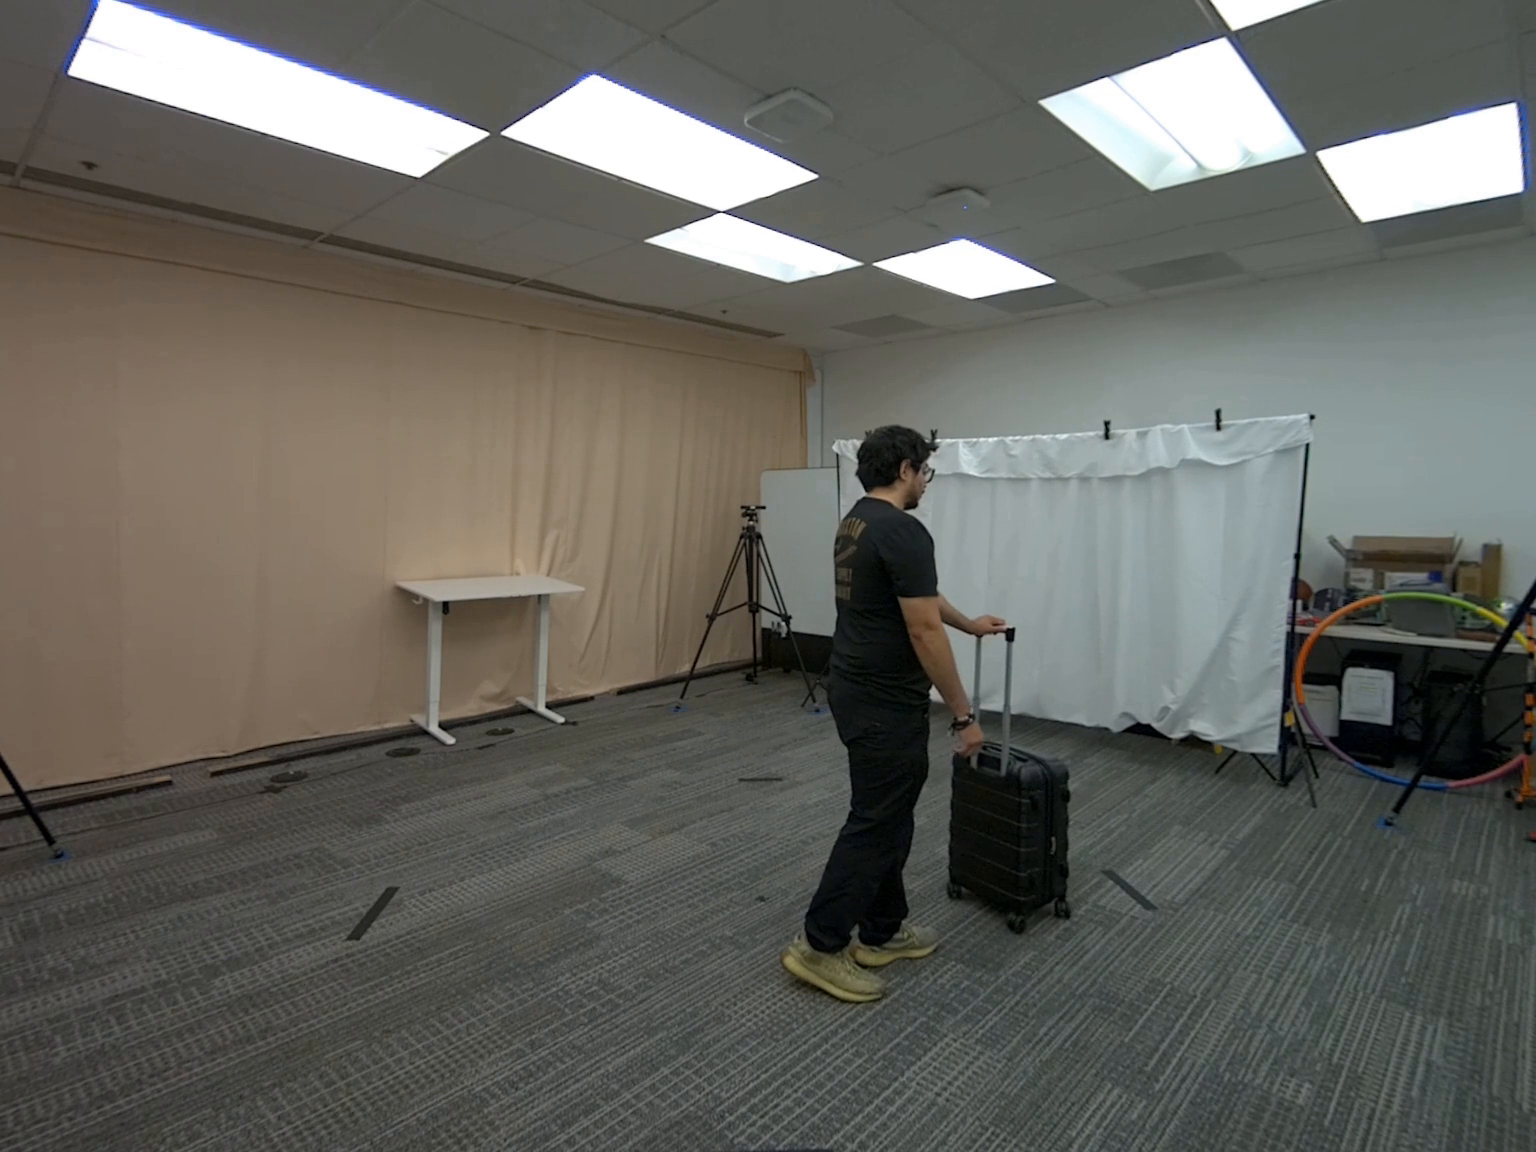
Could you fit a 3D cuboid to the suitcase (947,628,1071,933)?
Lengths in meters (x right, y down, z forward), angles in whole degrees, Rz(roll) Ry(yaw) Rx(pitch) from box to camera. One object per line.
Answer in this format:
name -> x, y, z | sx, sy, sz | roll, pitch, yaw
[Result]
suitcase -> 0.852, 0.669, 2.933 | 0.250, 0.978, 0.395 | 2, 0, -30
